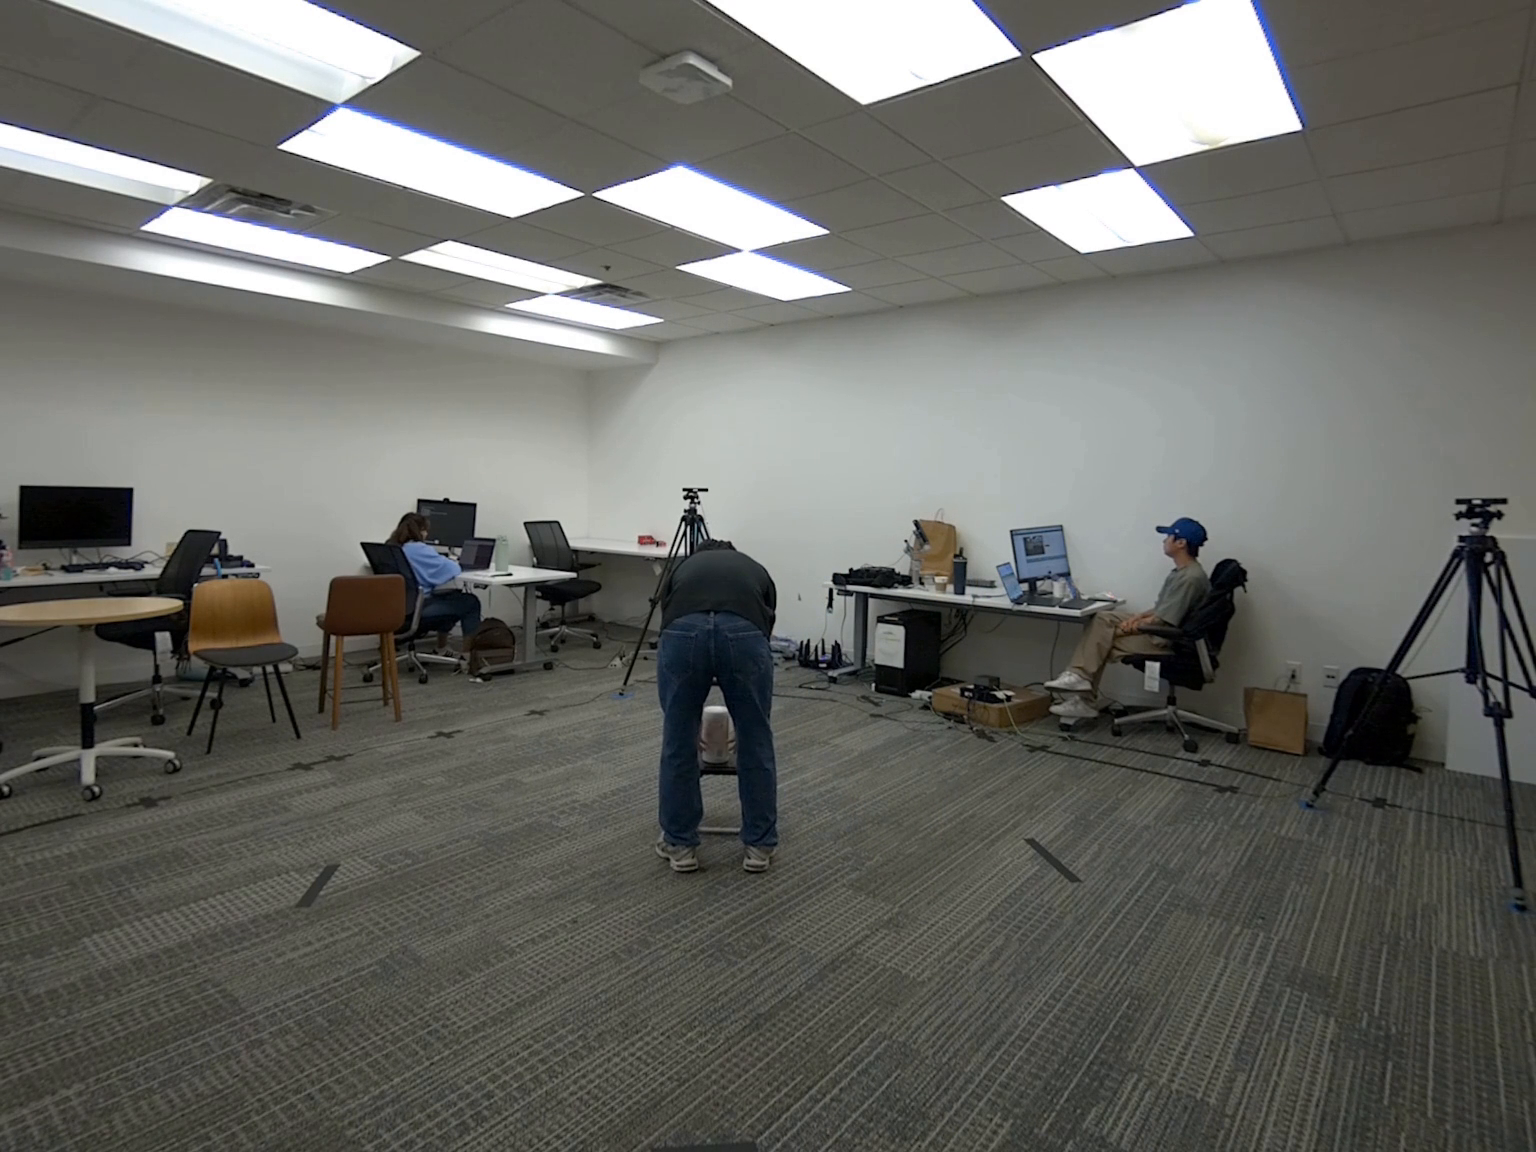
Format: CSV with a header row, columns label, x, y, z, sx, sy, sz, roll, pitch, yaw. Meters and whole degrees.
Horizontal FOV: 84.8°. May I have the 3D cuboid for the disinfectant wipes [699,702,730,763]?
label,x,y,z,sx,sy,sz,roll,pitch,yaw
disinfectant wipes,-0.230,0.654,3.540,0.118,0.217,0.118,5,0,-2
